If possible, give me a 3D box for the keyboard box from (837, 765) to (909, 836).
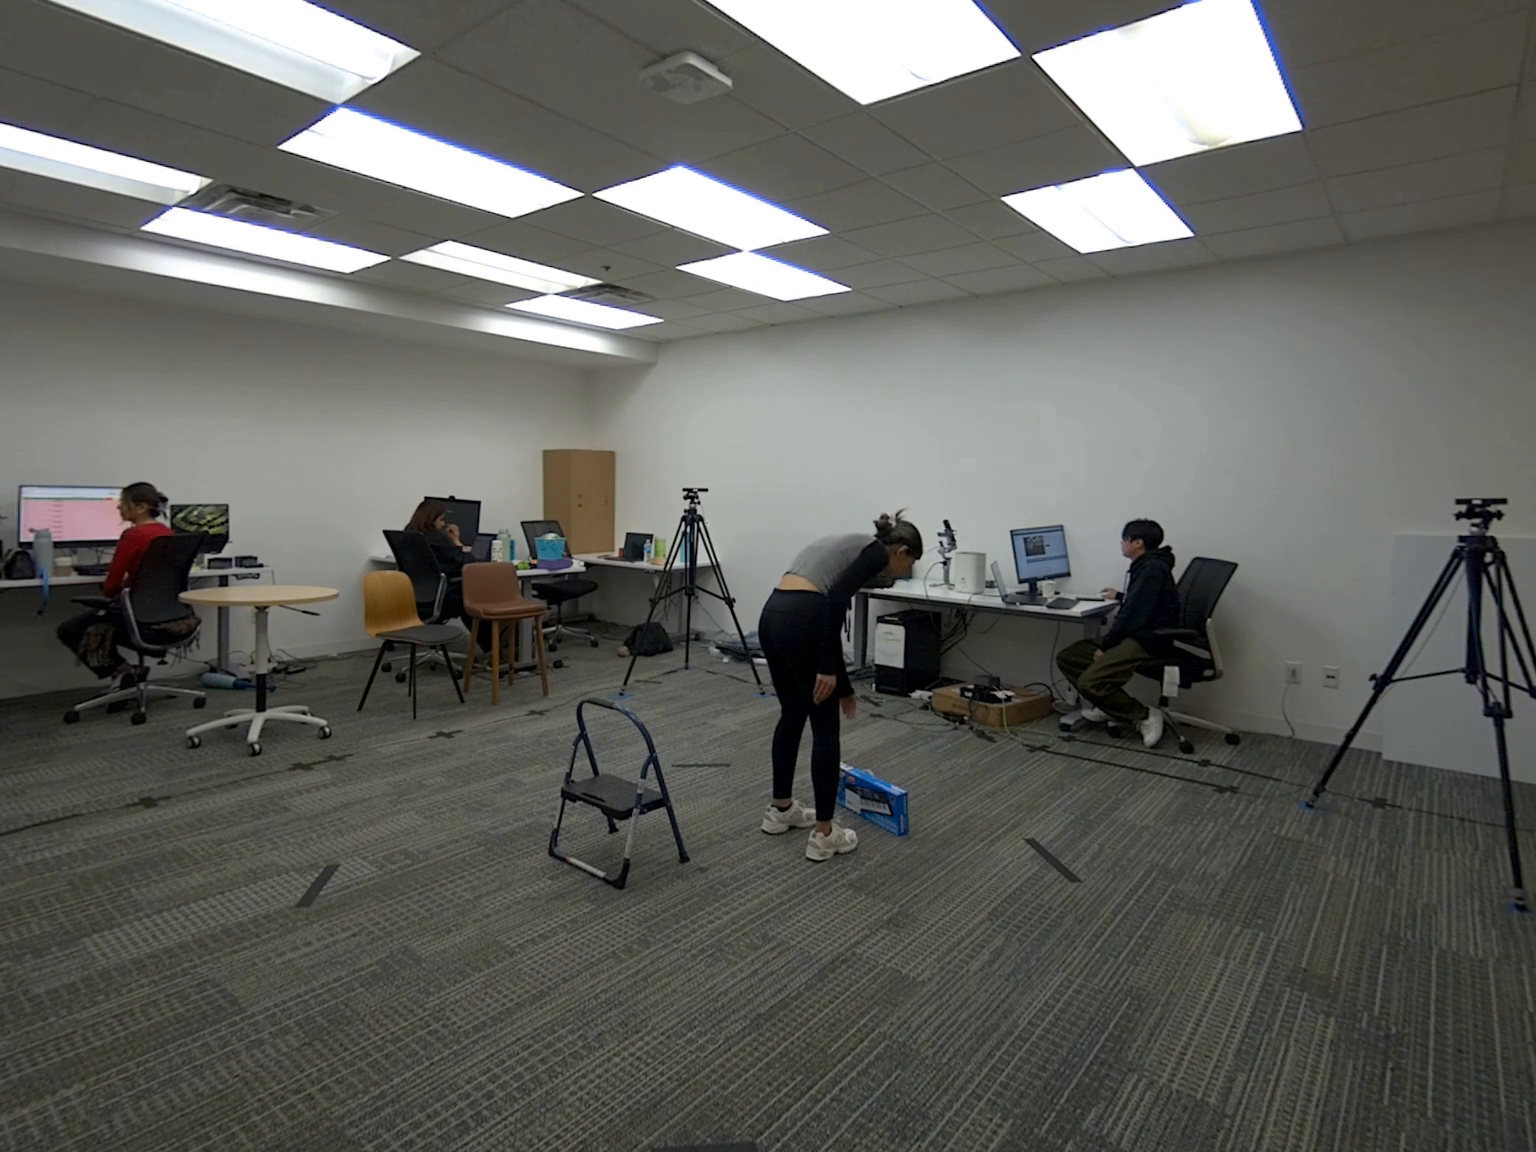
[{"bbox_3d":[0.420,0.942,3.646,0.057,0.175,0.451,-6,8,-32],"label":"keyboard box"}]
